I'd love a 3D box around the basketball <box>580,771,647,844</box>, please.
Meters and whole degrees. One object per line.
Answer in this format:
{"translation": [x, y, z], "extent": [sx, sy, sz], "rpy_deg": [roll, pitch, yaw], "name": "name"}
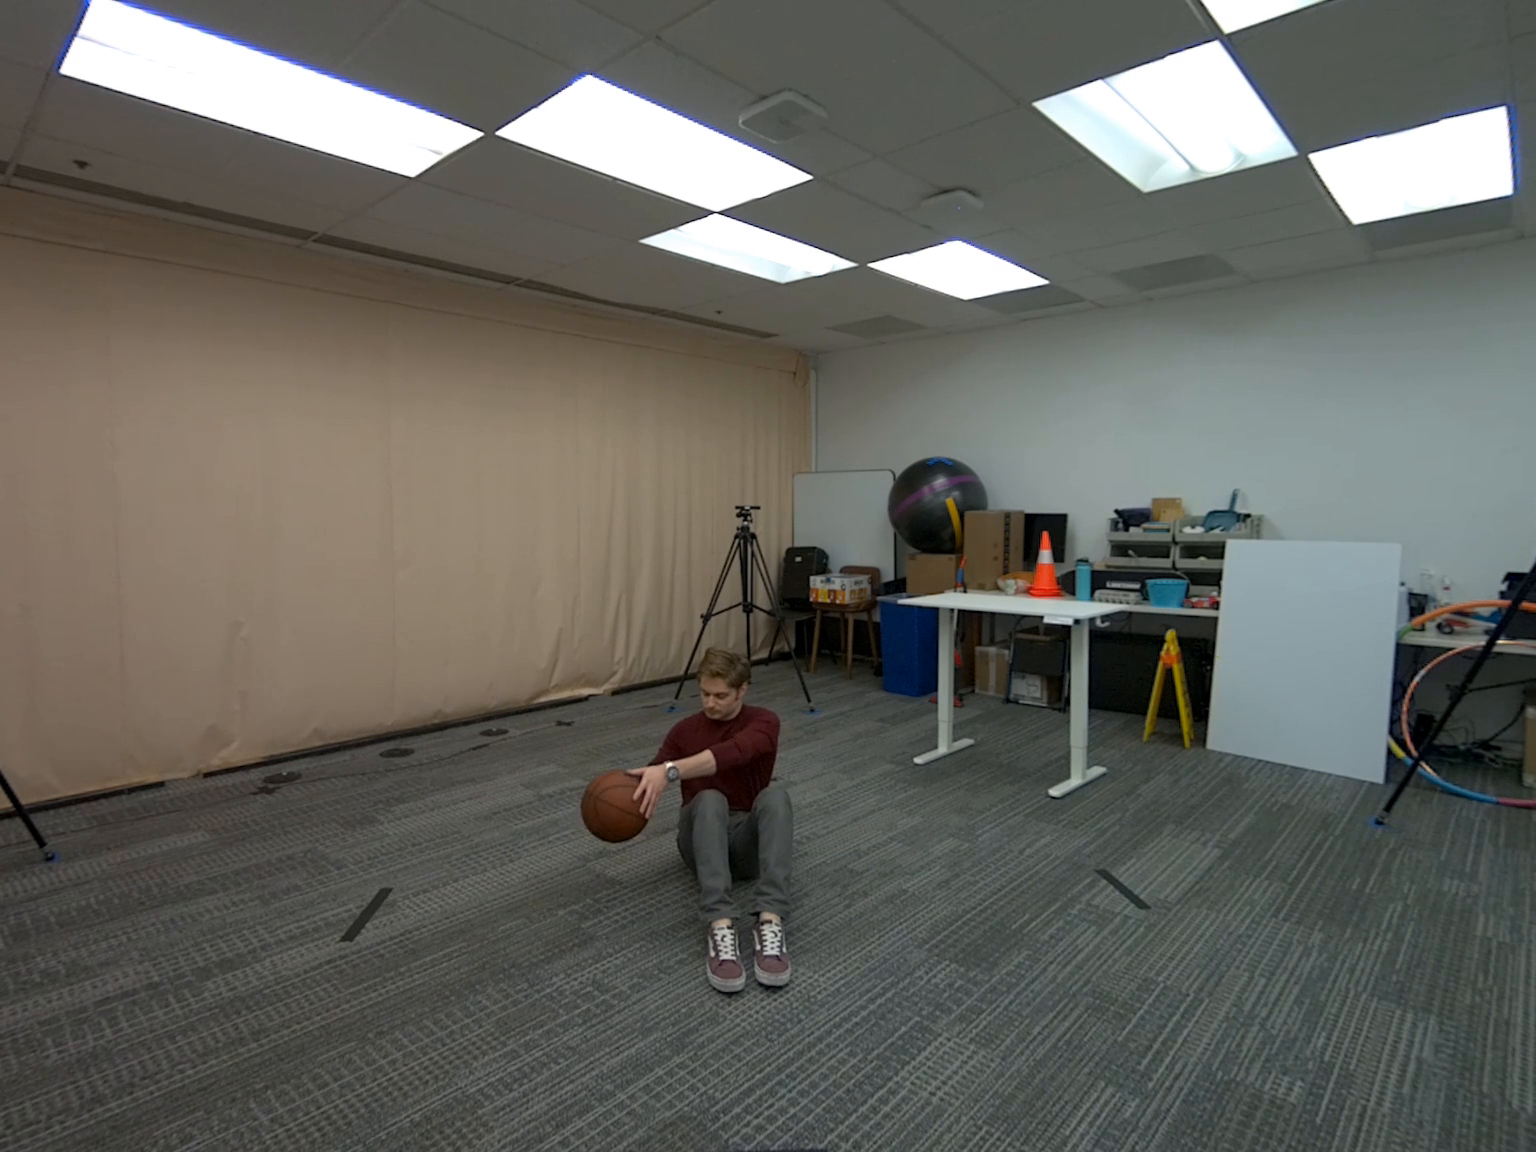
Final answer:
{"translation": [-0.497, 0.776, 2.840], "extent": [0.236, 0.235, 0.237], "rpy_deg": [0, 4, -2], "name": "basketball"}
